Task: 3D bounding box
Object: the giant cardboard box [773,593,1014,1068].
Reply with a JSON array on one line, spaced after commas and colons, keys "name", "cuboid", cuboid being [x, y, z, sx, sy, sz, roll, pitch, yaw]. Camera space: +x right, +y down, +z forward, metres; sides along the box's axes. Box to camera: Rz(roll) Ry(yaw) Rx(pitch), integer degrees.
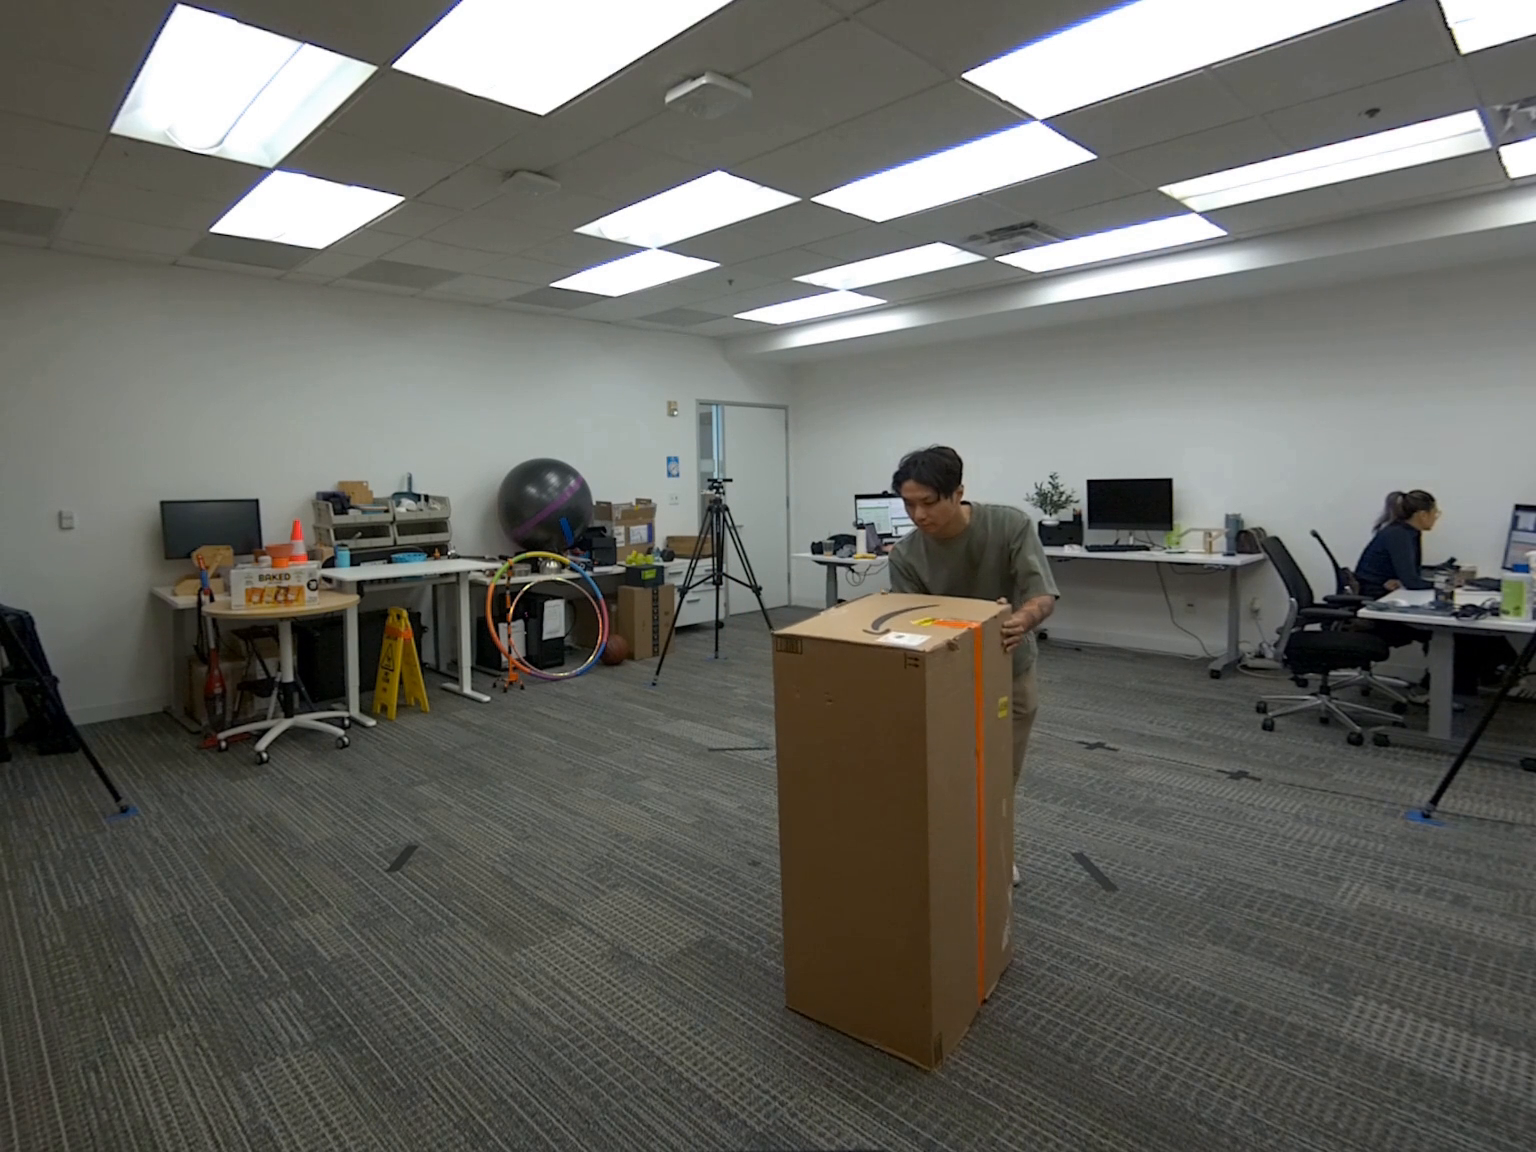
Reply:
[{"name": "giant cardboard box", "cuboid": [0.354, 0.616, 2.298, 0.438, 1.020, 0.564, 2, 8, 36]}]
